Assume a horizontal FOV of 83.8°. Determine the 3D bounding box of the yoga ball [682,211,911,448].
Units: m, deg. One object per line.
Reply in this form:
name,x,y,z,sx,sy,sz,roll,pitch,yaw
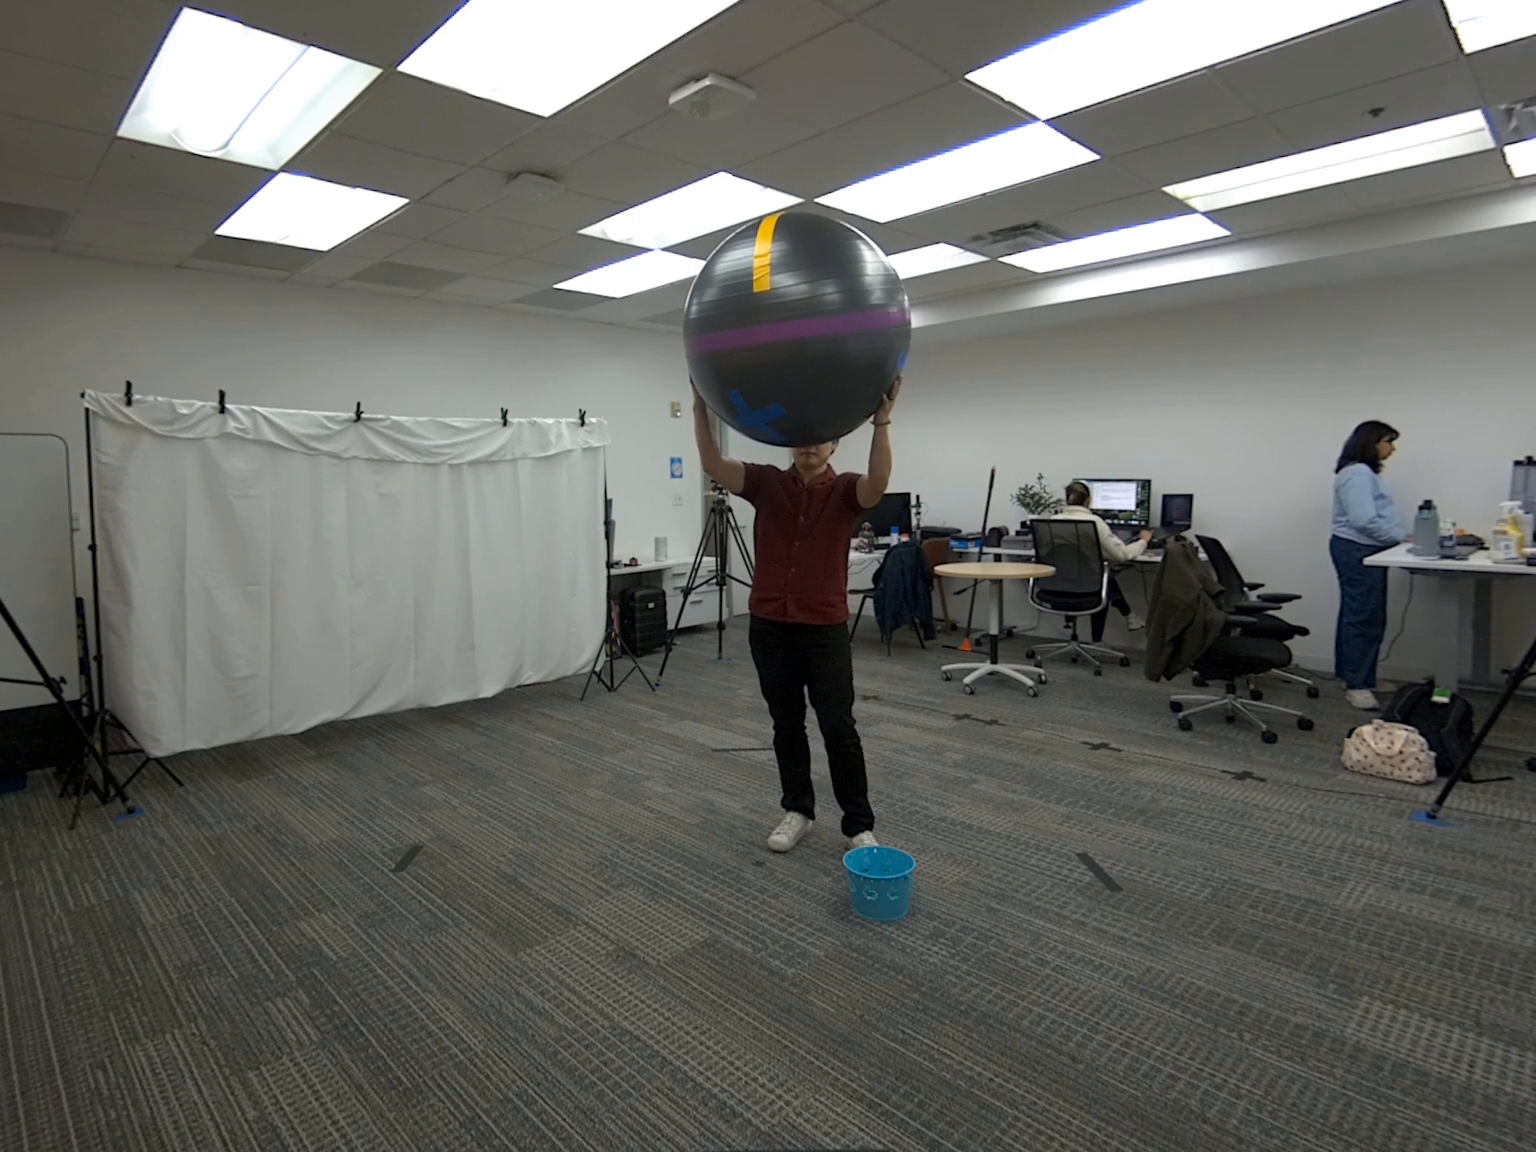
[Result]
yoga ball,0.102,-0.809,2.857,0.757,0.755,0.762,-1,5,-2
